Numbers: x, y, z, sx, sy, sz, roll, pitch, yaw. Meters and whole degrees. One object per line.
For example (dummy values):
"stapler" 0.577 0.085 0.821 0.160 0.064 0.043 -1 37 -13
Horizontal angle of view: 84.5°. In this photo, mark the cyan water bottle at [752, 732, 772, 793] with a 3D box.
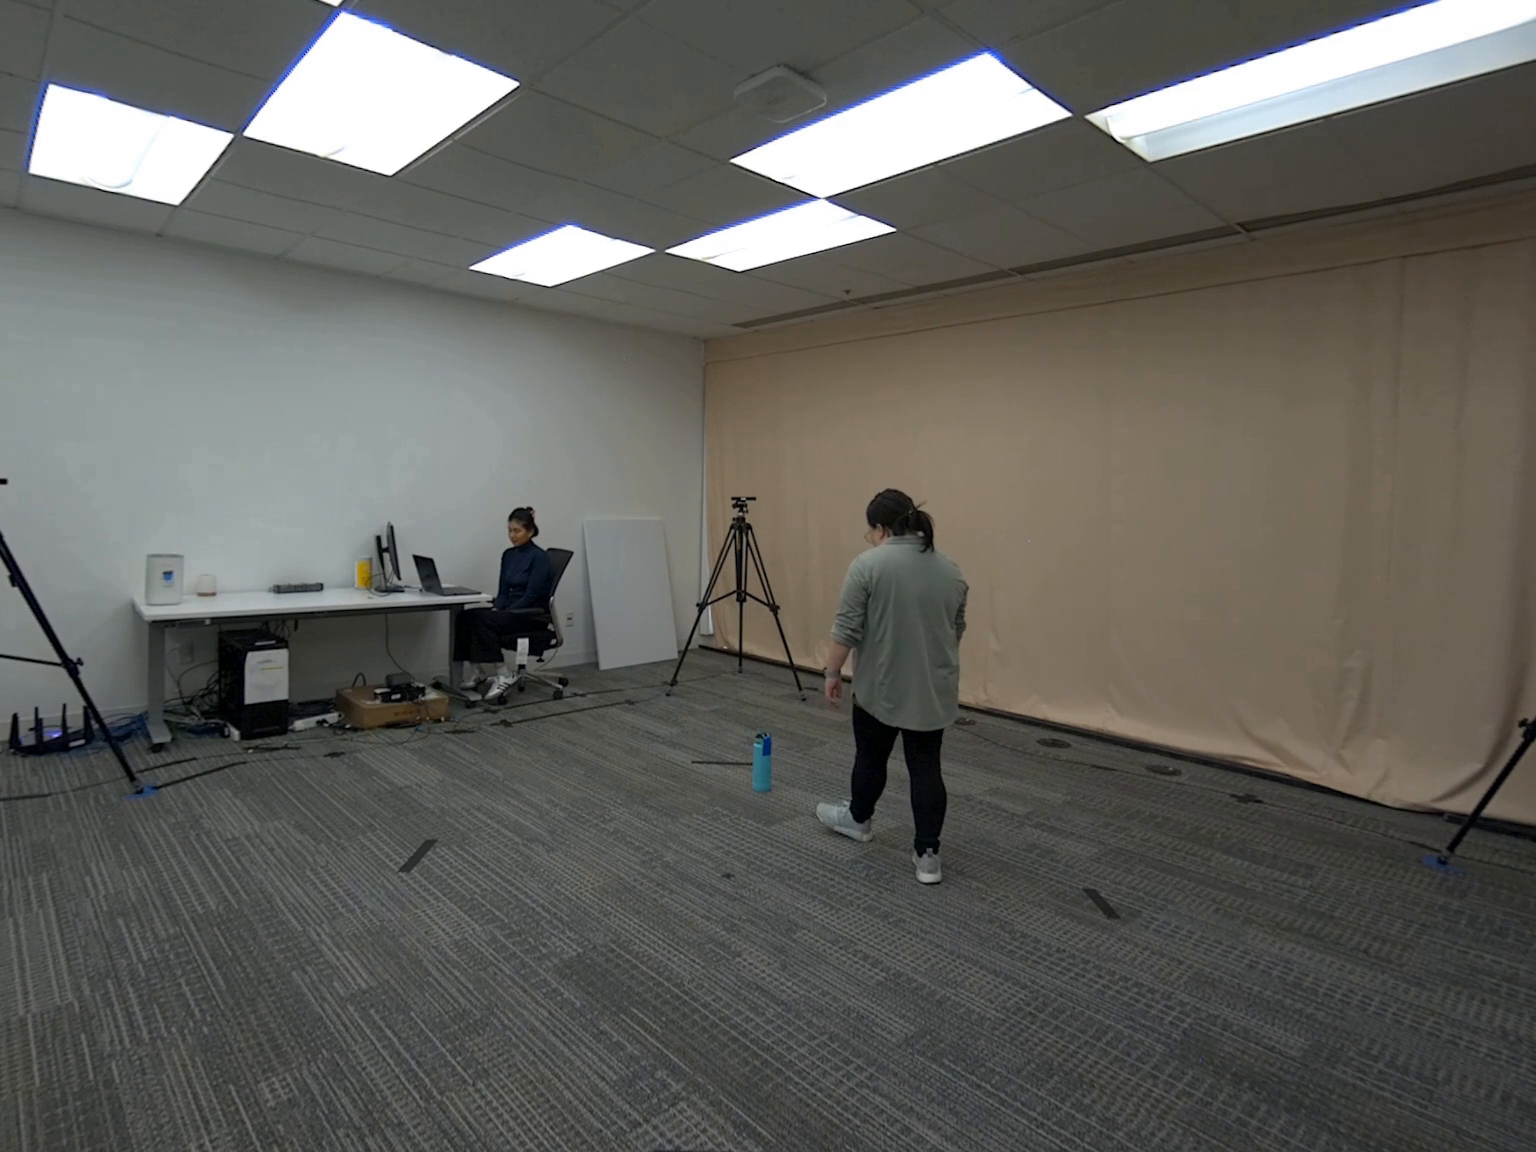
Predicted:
"cyan water bottle" -0.035 0.888 4.064 0.092 0.283 0.092 4 4 -2
